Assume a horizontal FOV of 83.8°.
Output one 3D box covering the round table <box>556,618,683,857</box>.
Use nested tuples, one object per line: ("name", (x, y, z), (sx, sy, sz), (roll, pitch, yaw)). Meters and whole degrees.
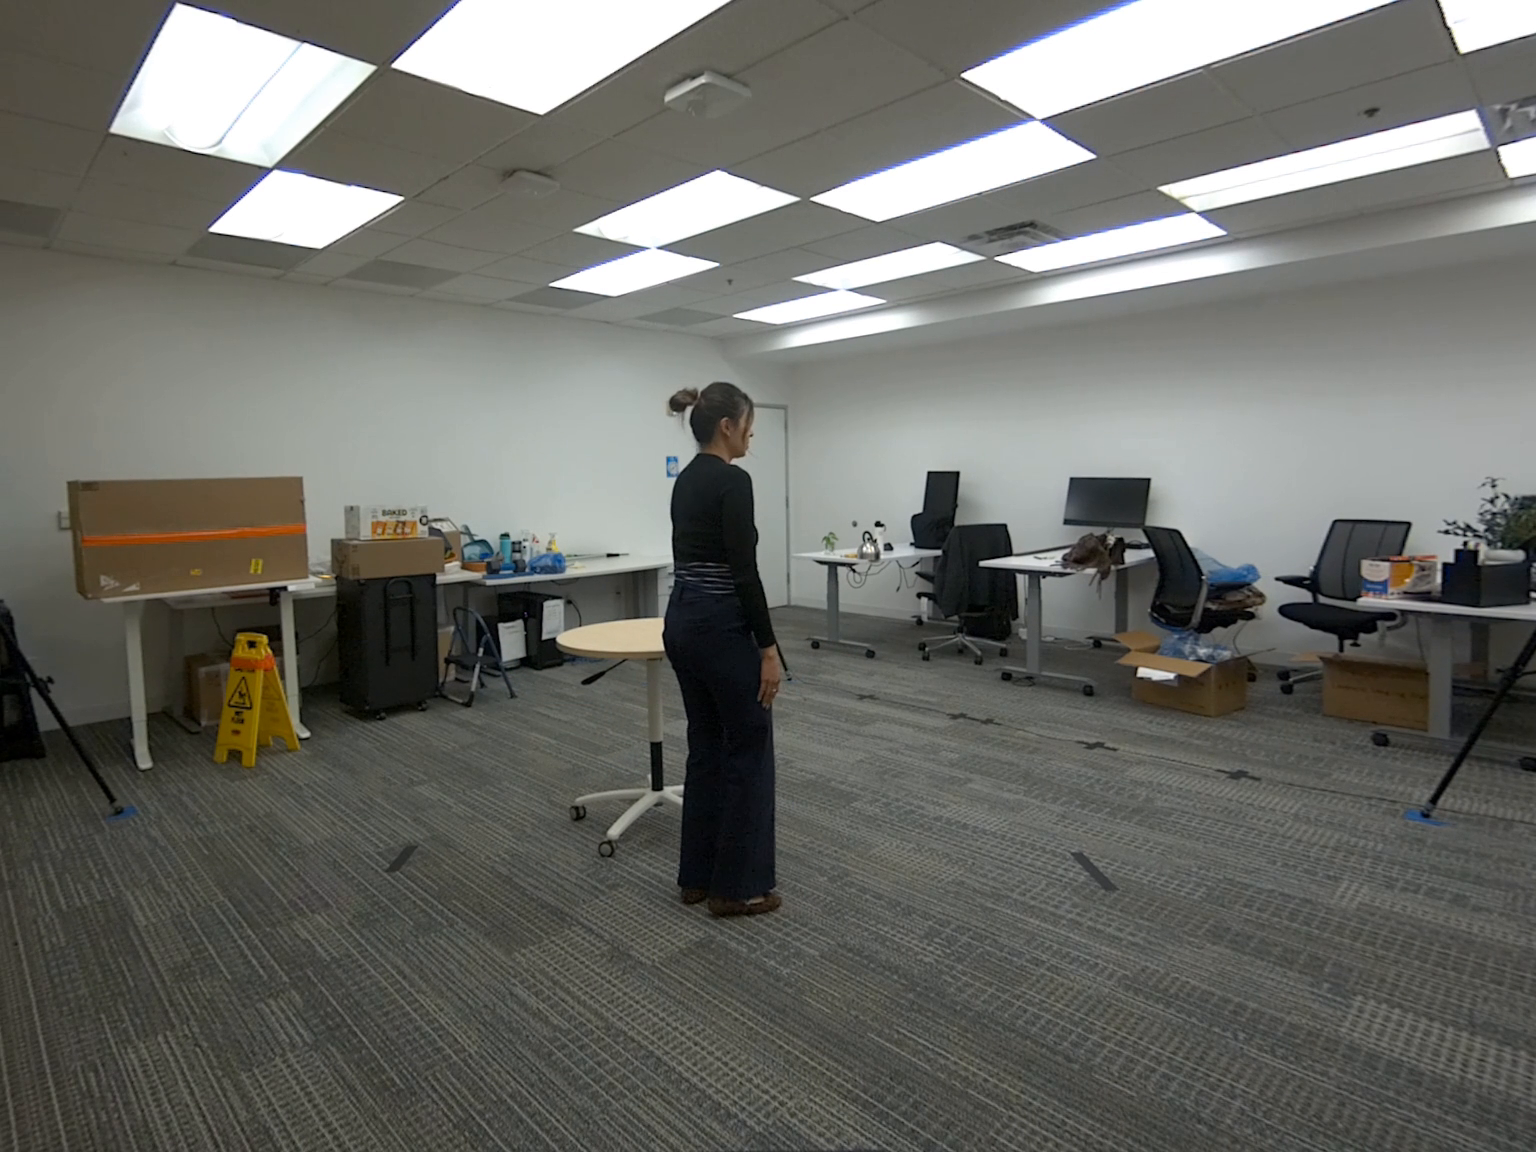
("round table", (-0.462, 0.623, 3.463), (0.763, 0.791, 0.767), (-2, 4, -2))
